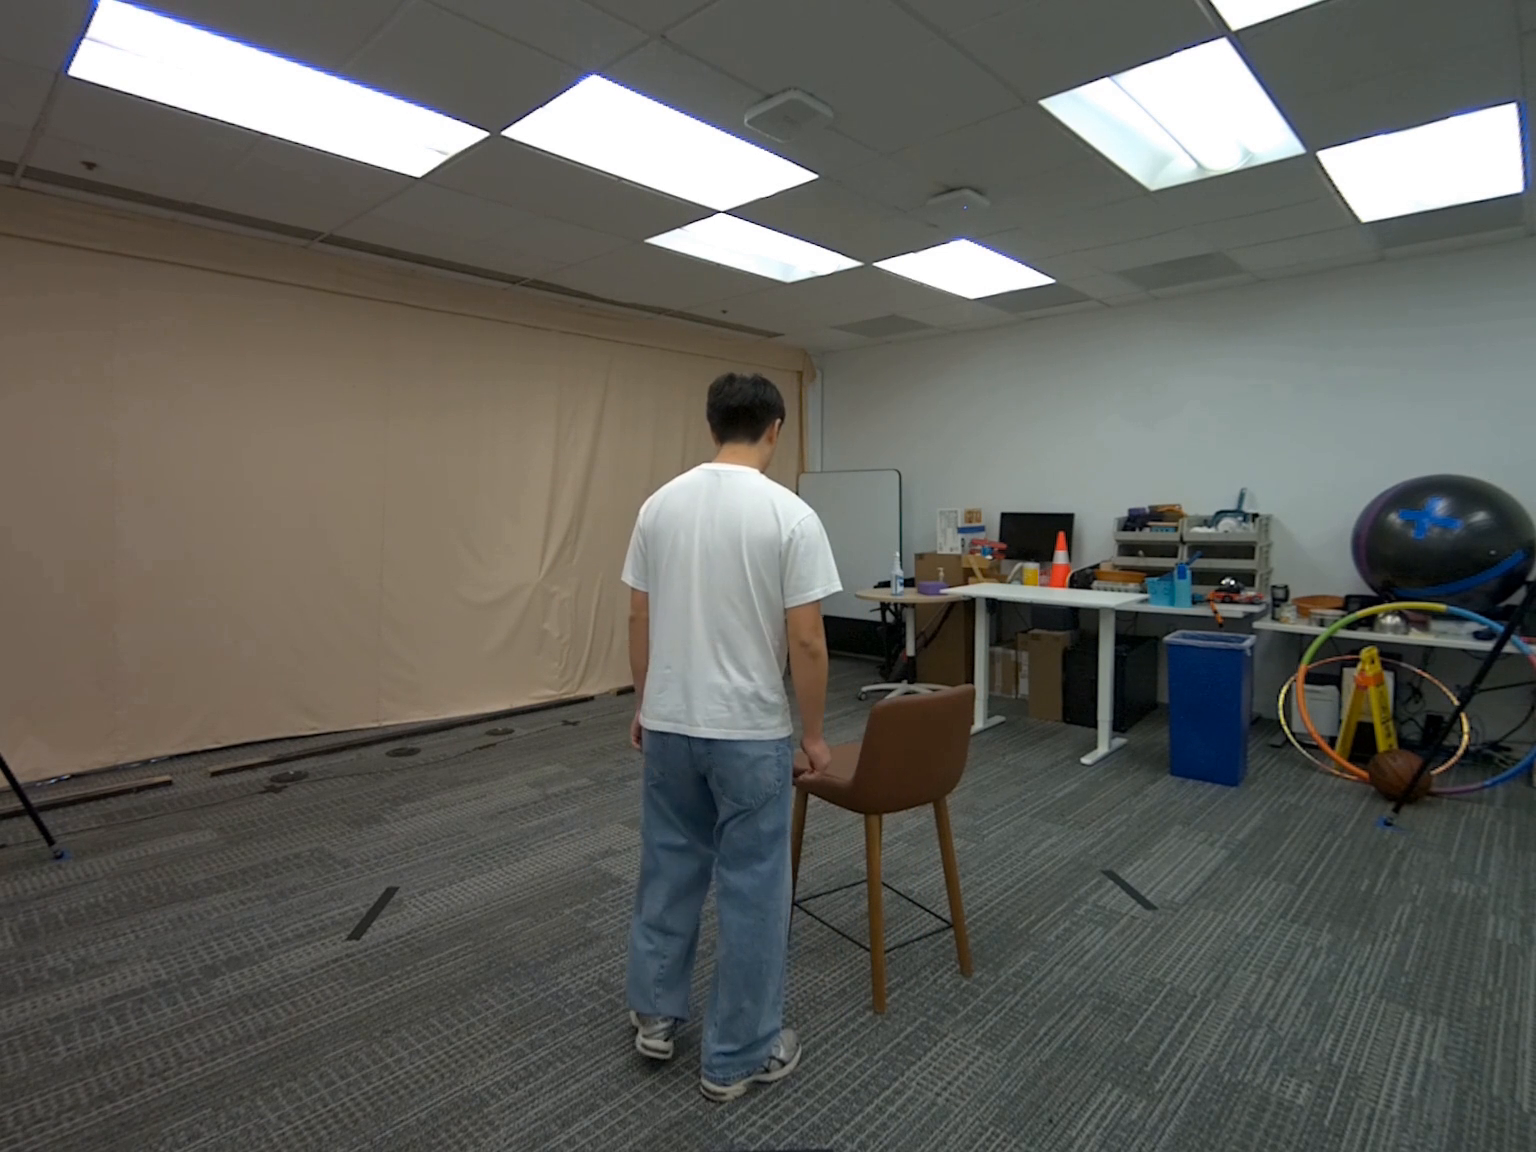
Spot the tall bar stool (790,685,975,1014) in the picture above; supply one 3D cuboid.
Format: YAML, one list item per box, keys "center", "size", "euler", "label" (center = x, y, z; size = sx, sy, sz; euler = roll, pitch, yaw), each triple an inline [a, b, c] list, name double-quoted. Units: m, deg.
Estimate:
- center: [0.337, 0.744, 2.564]
  size: [0.443, 0.887, 0.482]
  euler: [-2, 5, -34]
  label: "tall bar stool"
